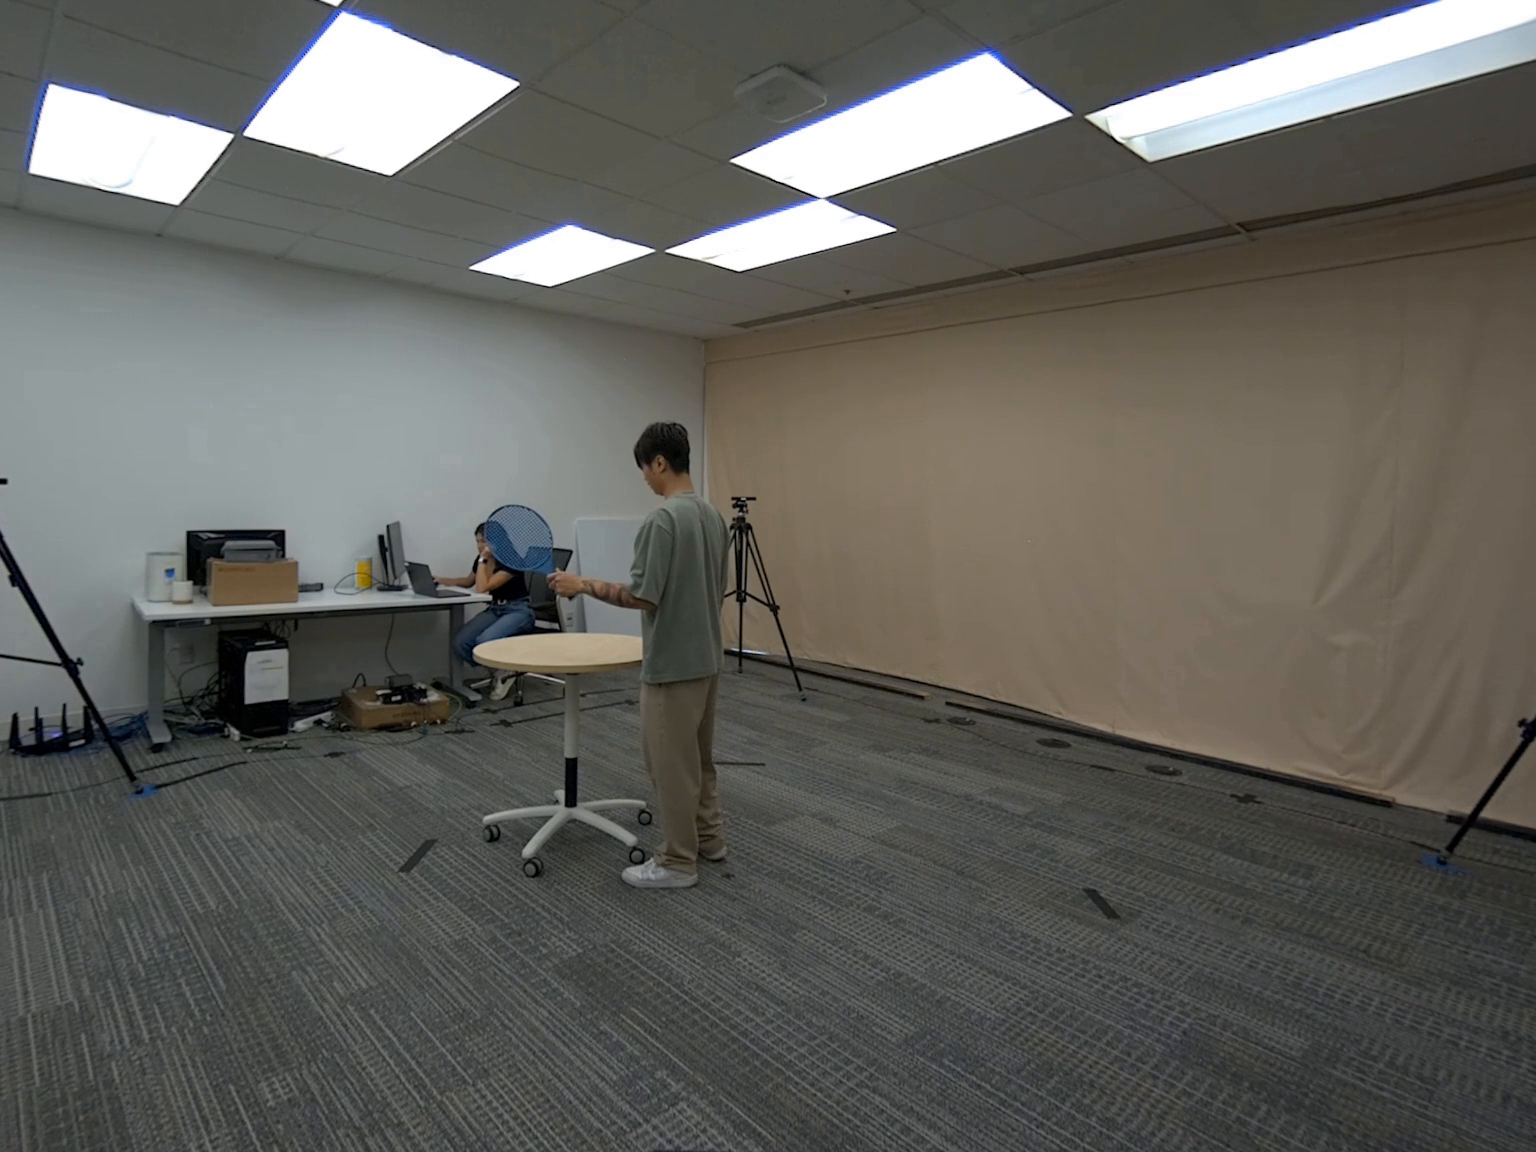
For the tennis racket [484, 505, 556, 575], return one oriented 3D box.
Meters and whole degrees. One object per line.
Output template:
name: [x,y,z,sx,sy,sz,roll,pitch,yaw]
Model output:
tennis racket: [-0.811,-0.070,2.928,0.436,0.213,0.031,44,-7,7]
